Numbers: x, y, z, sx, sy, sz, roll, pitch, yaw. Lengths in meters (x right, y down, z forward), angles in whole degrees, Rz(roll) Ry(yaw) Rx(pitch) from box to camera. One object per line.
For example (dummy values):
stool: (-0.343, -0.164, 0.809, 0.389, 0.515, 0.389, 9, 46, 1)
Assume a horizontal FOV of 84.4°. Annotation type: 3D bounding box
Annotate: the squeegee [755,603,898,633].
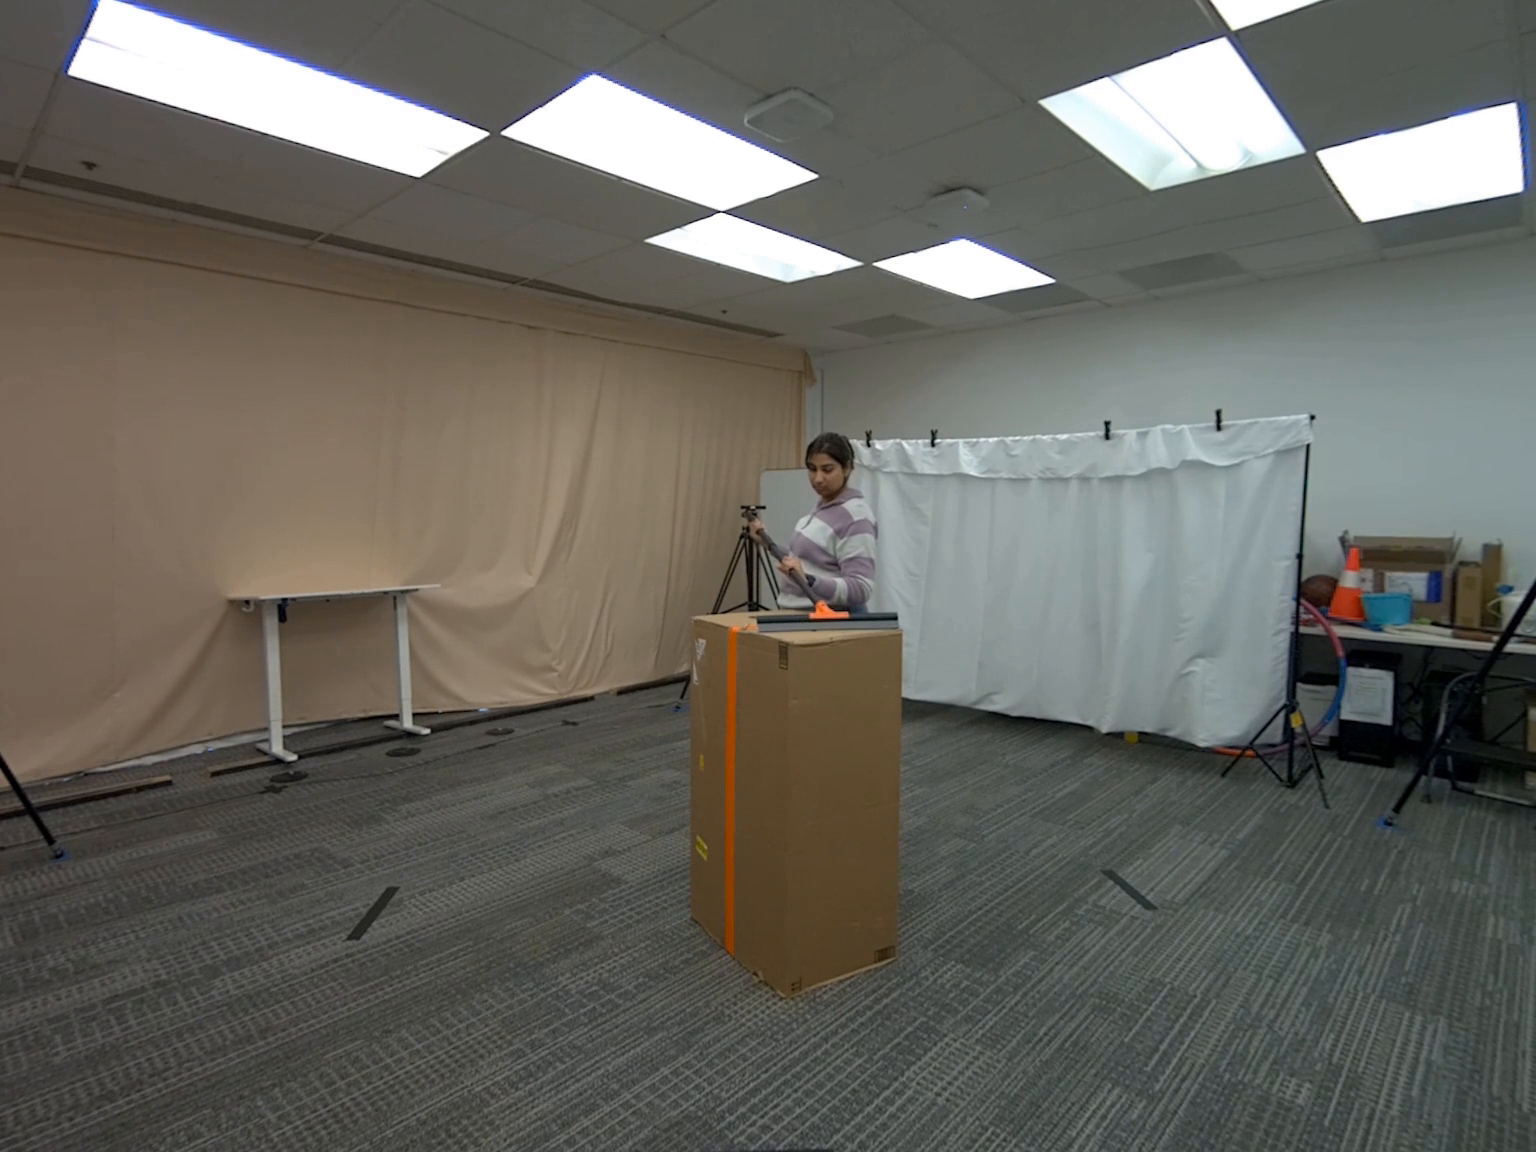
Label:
squeegee: (0.036, -0.083, 3.237, 0.433, 0.052, 1.564, 5, 17, -10)
